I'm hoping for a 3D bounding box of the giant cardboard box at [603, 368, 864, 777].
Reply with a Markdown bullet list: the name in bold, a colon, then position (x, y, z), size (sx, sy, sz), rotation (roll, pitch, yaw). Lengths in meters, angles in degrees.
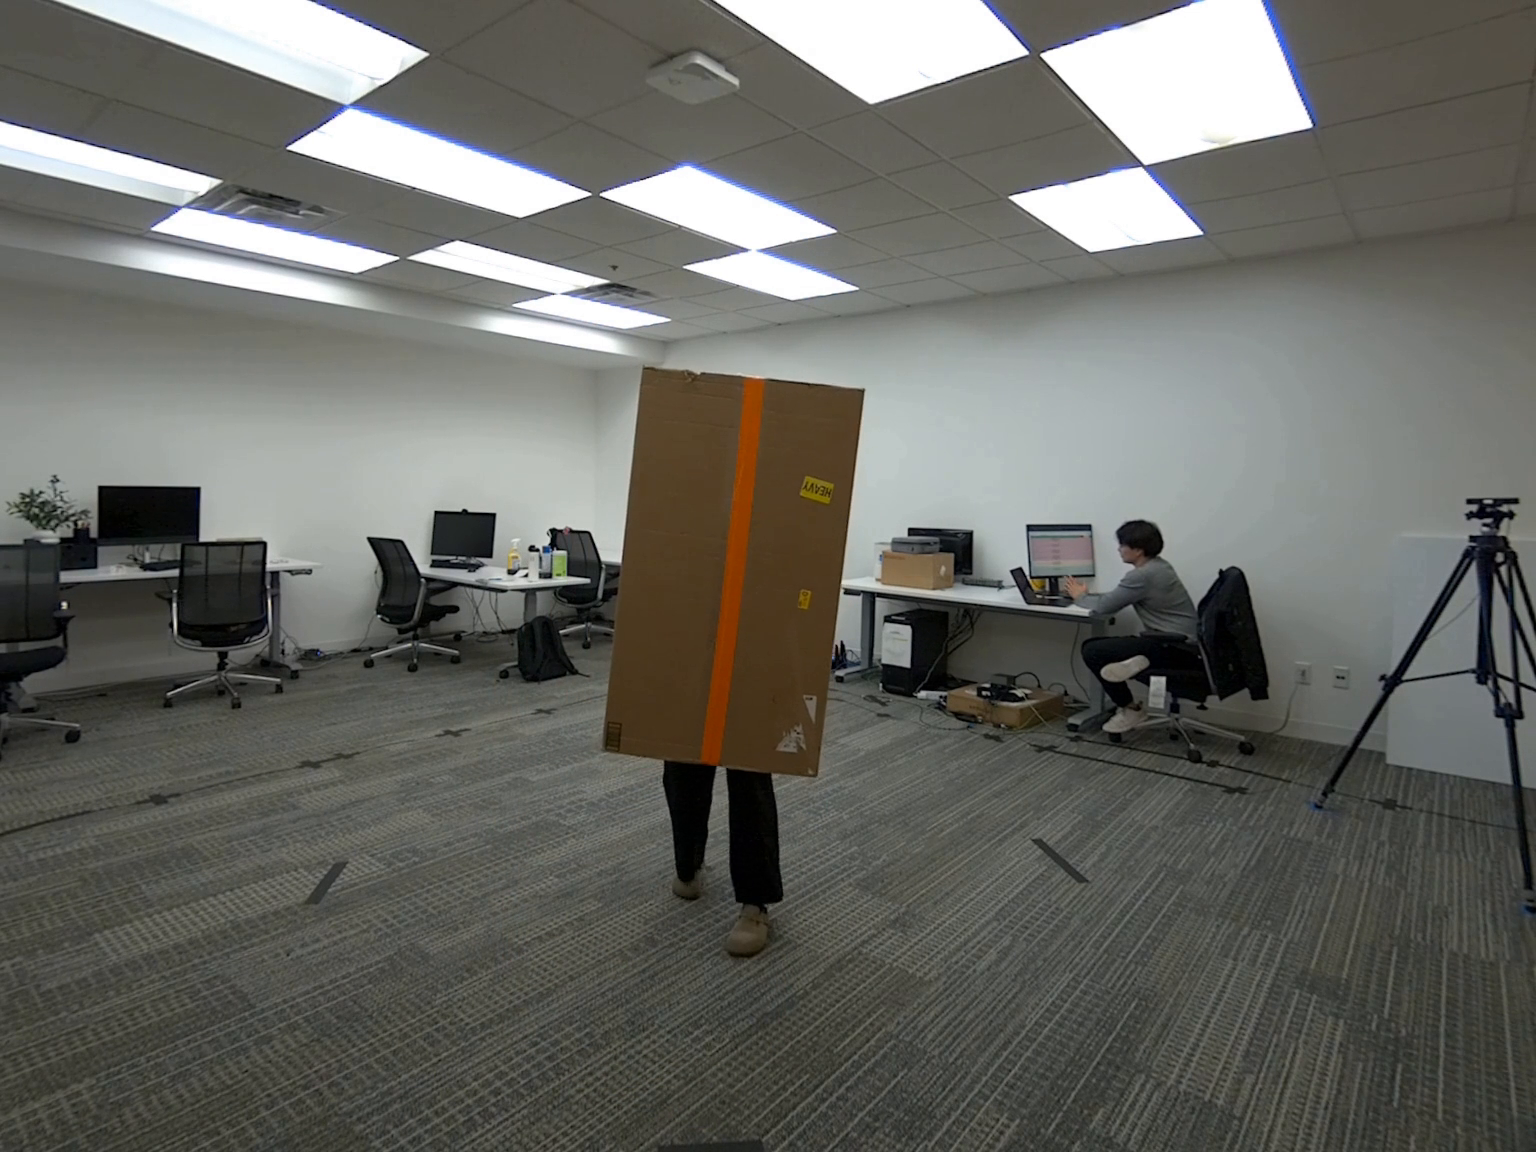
- **giant cardboard box**: position (-0.108, -0.038, 2.403), size (0.579, 1.021, 0.427), rotation (7, 6, 1)
